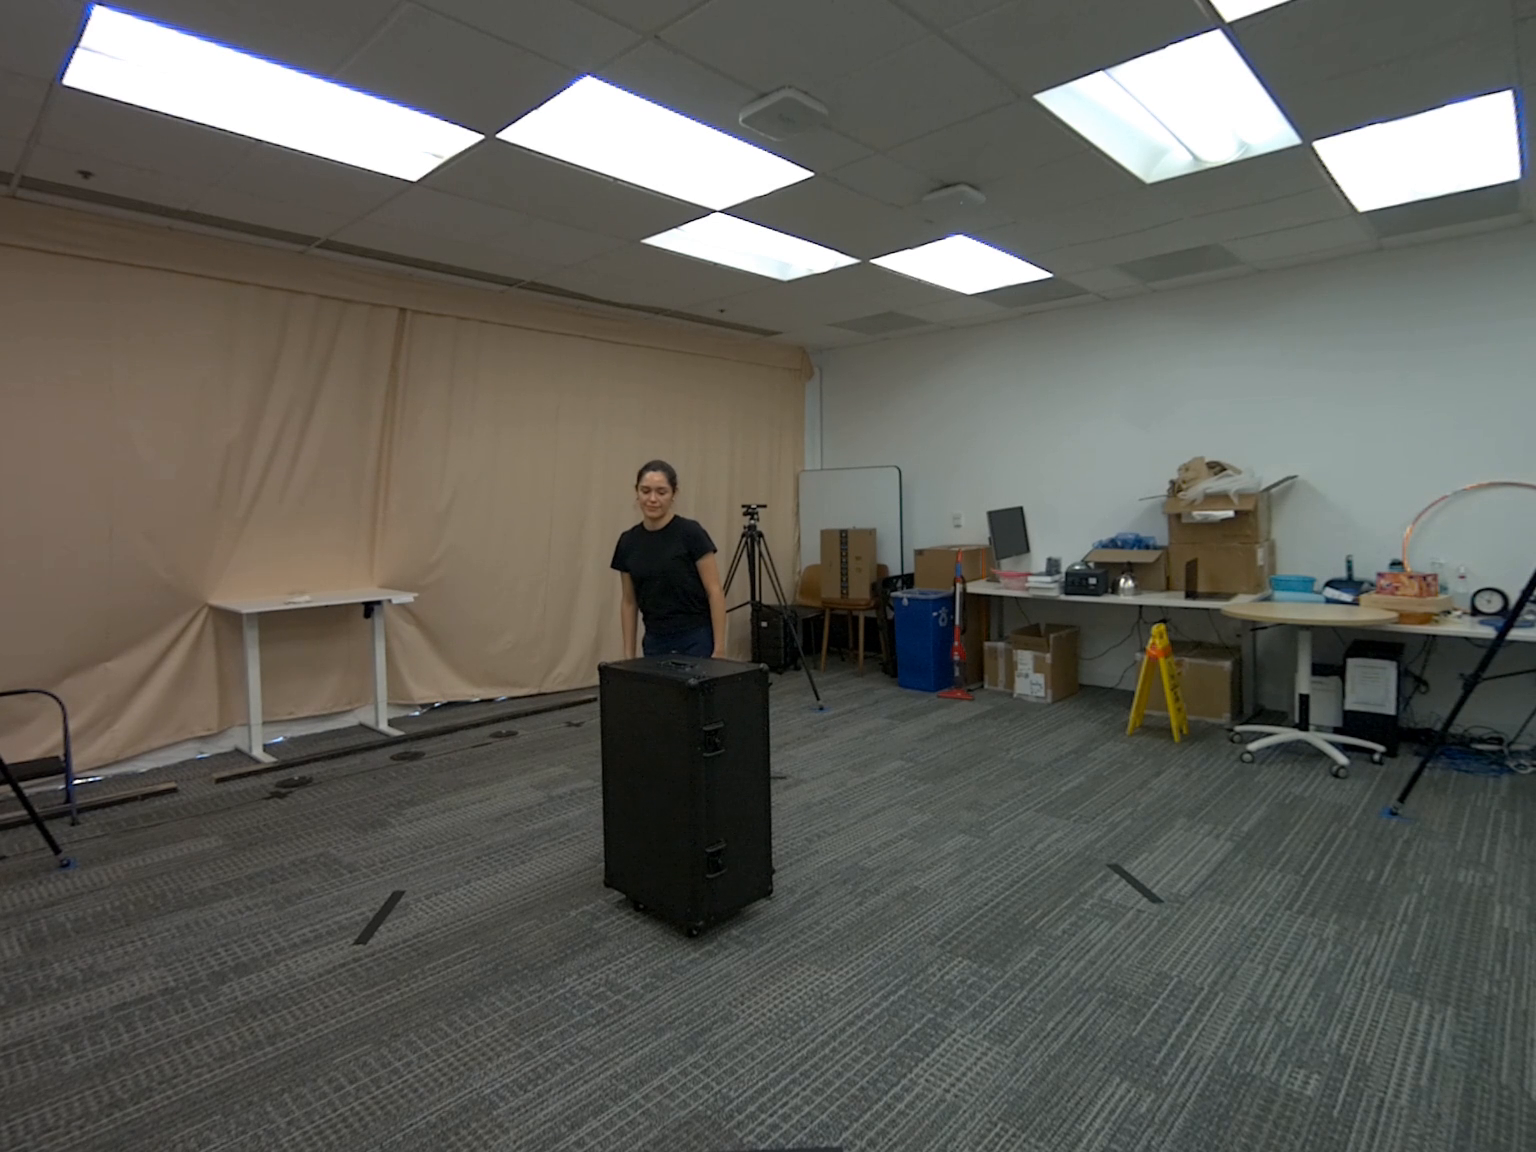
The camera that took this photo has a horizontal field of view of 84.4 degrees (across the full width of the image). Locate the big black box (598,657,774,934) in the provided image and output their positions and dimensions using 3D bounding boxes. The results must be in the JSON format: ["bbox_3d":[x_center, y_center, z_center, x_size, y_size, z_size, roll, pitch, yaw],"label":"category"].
[{"bbox_3d":[-0.269,0.731,2.897,0.538,0.860,0.384,1,3,42],"label":"big black box"}]
